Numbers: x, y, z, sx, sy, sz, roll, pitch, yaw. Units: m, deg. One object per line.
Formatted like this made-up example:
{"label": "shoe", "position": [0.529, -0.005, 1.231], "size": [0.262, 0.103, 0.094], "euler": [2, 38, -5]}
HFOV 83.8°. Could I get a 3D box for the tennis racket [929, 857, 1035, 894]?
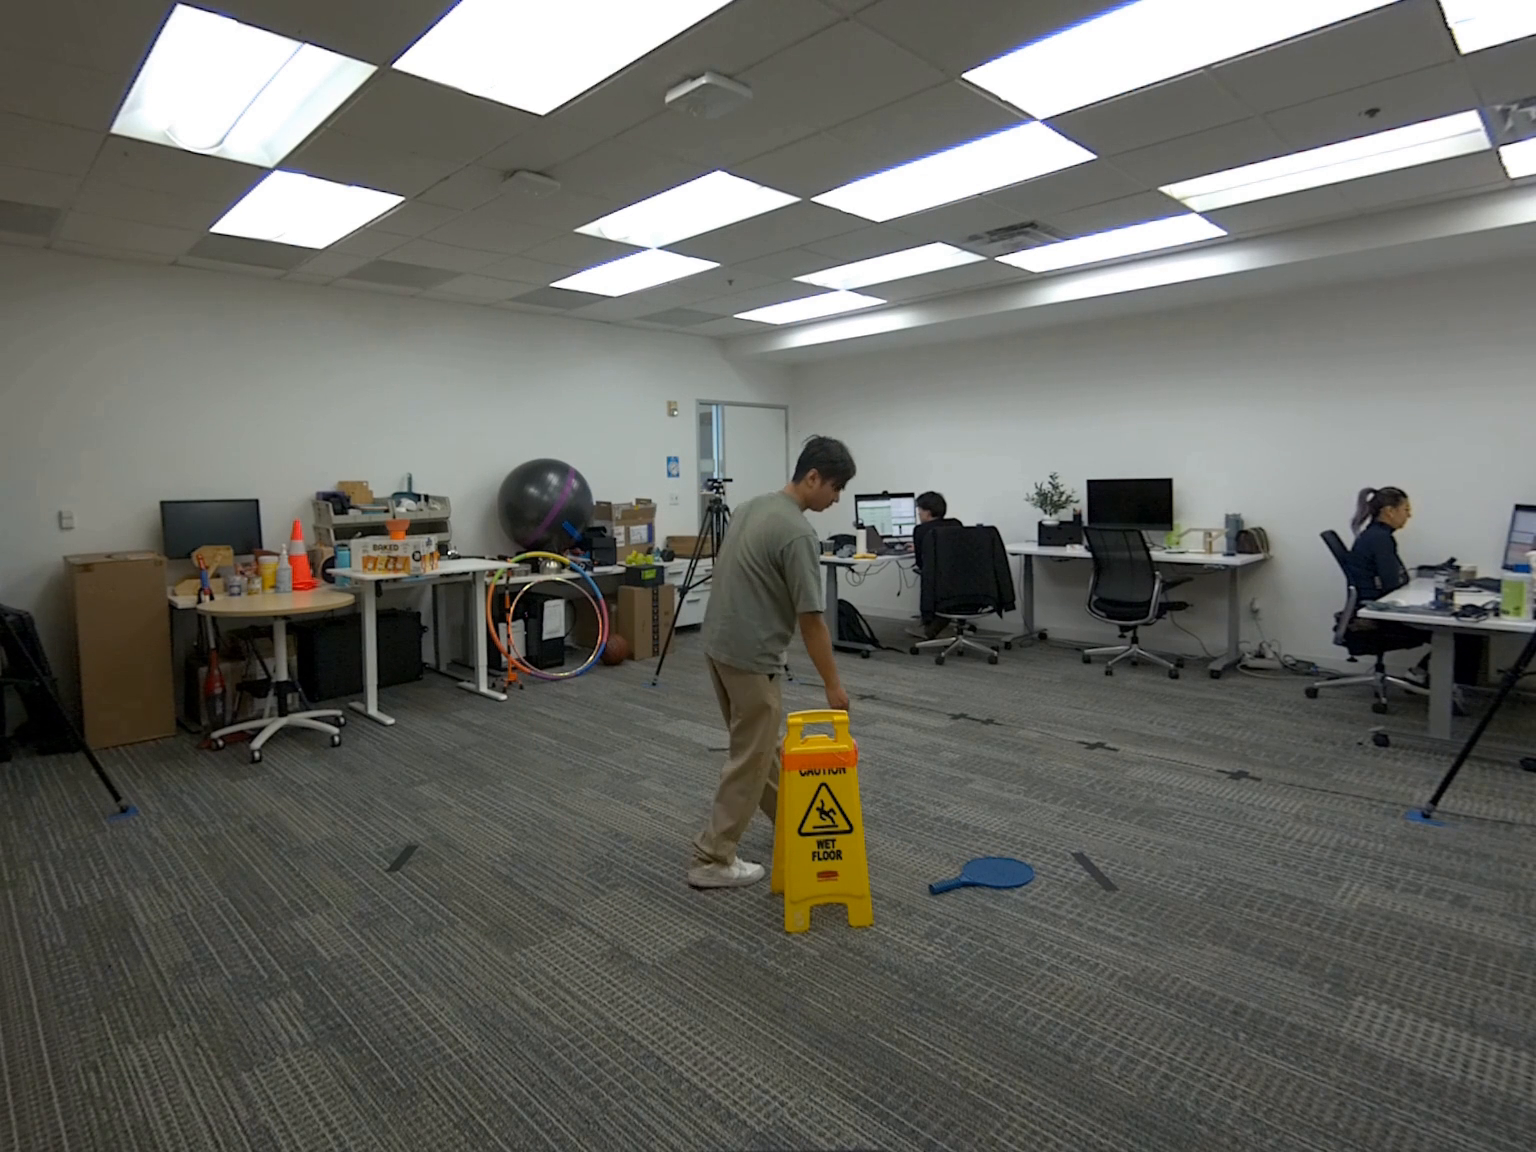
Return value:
{"label": "tennis racket", "position": [0.737, 1.035, 2.946], "size": [0.422, 0.031, 0.220], "euler": [-4, 7, -31]}
